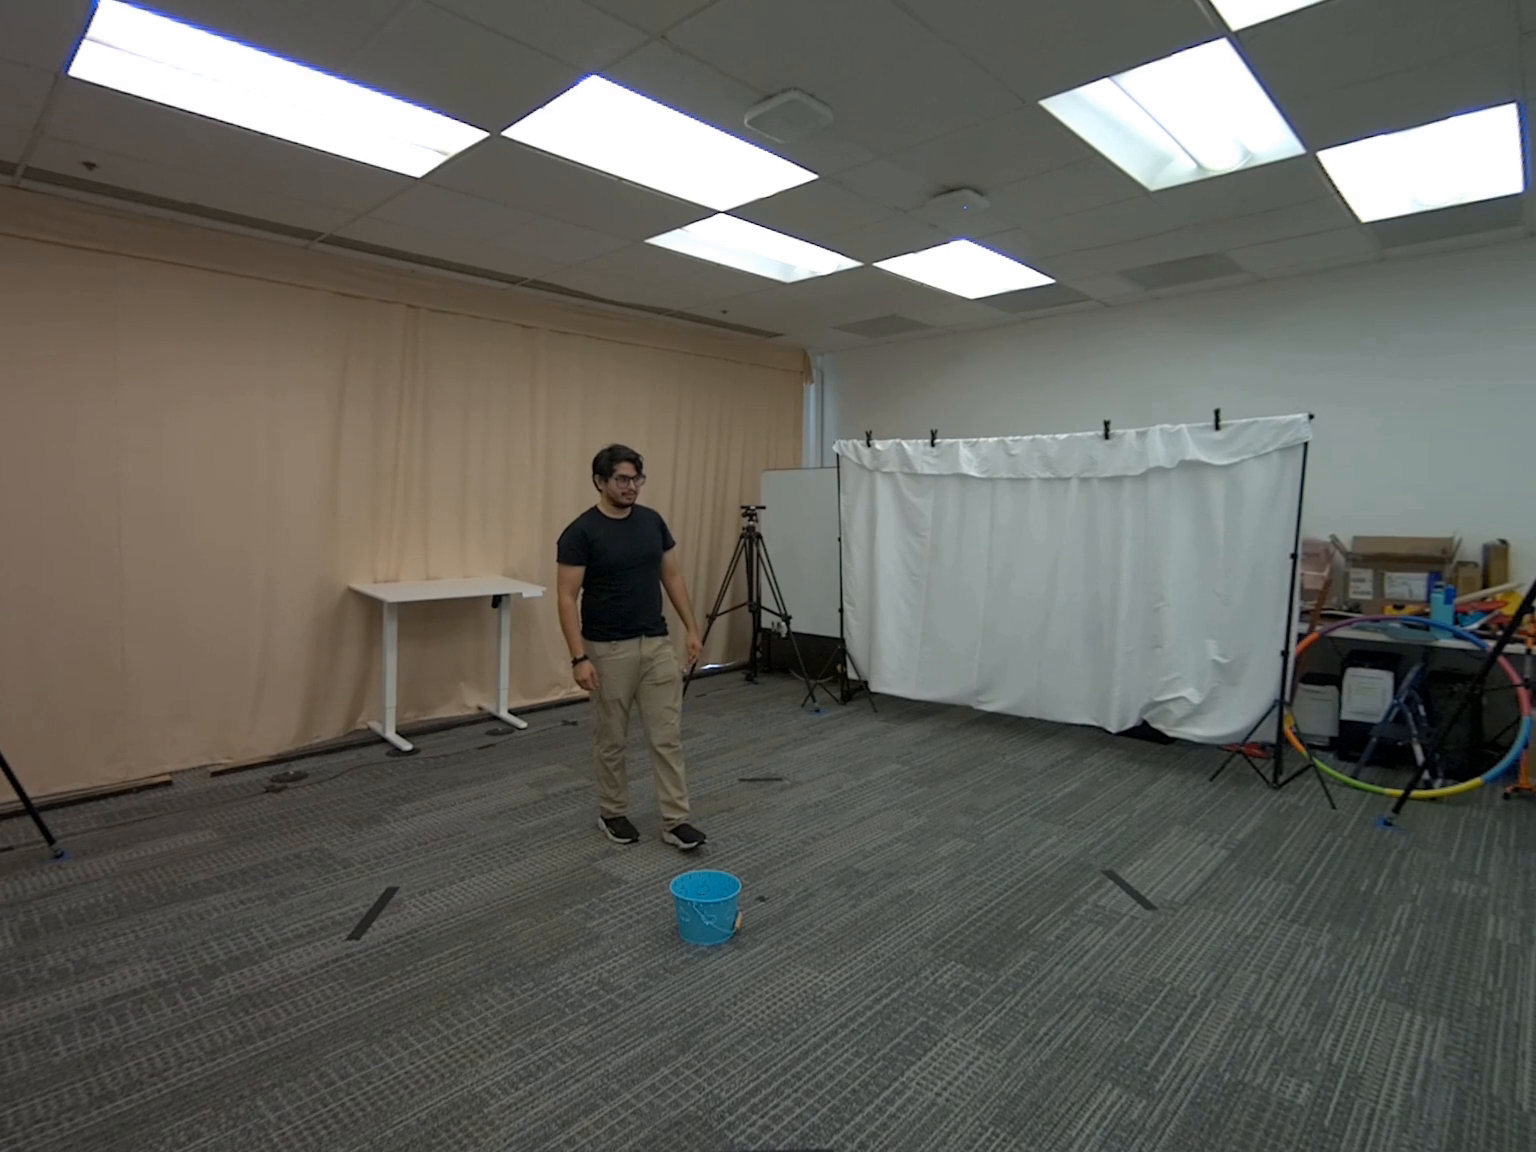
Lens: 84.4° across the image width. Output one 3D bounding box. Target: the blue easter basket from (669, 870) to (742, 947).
[{"bbox_3d":[-0.198,1.084,2.754,0.243,0.155,0.244,1,3,-2],"label":"blue easter basket"}]
